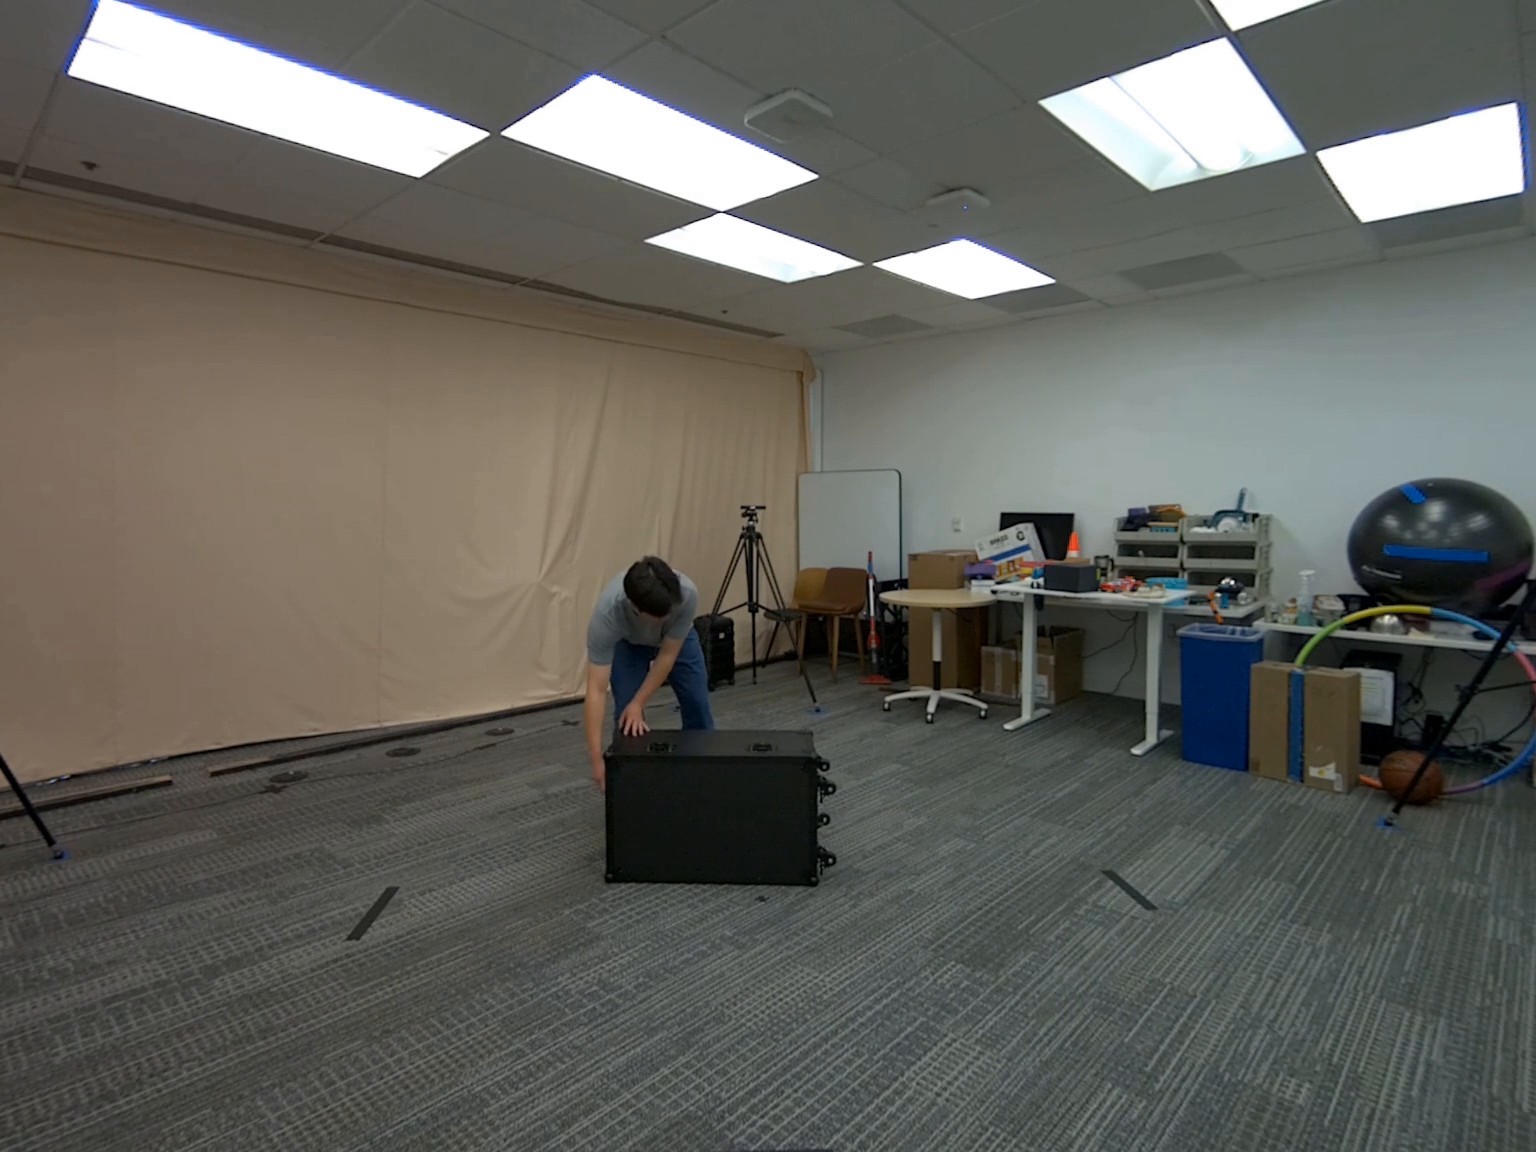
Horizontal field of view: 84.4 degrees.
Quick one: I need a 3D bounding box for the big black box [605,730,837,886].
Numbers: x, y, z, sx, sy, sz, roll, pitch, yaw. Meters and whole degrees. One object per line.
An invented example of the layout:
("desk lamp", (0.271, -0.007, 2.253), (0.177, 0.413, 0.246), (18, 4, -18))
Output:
("big black box", (-0.173, 0.878, 3.262), (0.865, 0.520, 0.396), (-1, 3, 3))
